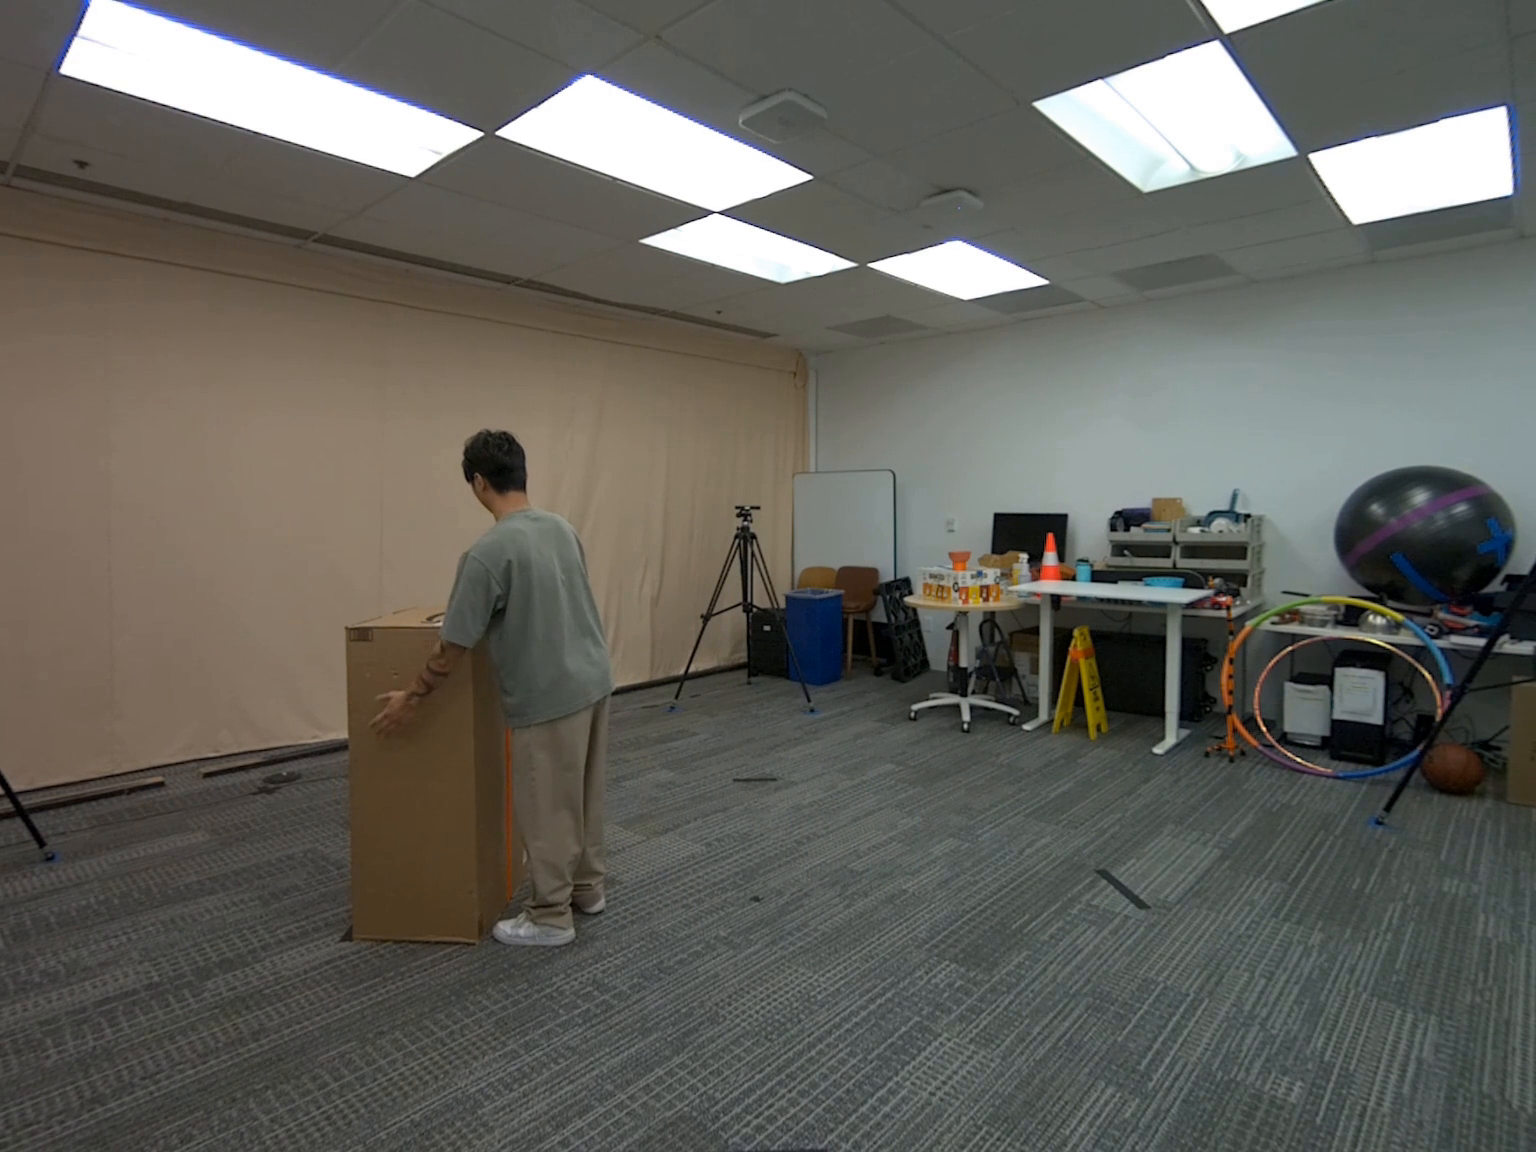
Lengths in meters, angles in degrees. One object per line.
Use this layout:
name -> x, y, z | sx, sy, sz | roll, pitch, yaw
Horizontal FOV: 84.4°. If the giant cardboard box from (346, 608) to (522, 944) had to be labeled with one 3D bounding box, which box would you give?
giant cardboard box -> -1.138, 0.651, 2.958 | 0.427, 1.024, 0.577 | 0, 2, 1
